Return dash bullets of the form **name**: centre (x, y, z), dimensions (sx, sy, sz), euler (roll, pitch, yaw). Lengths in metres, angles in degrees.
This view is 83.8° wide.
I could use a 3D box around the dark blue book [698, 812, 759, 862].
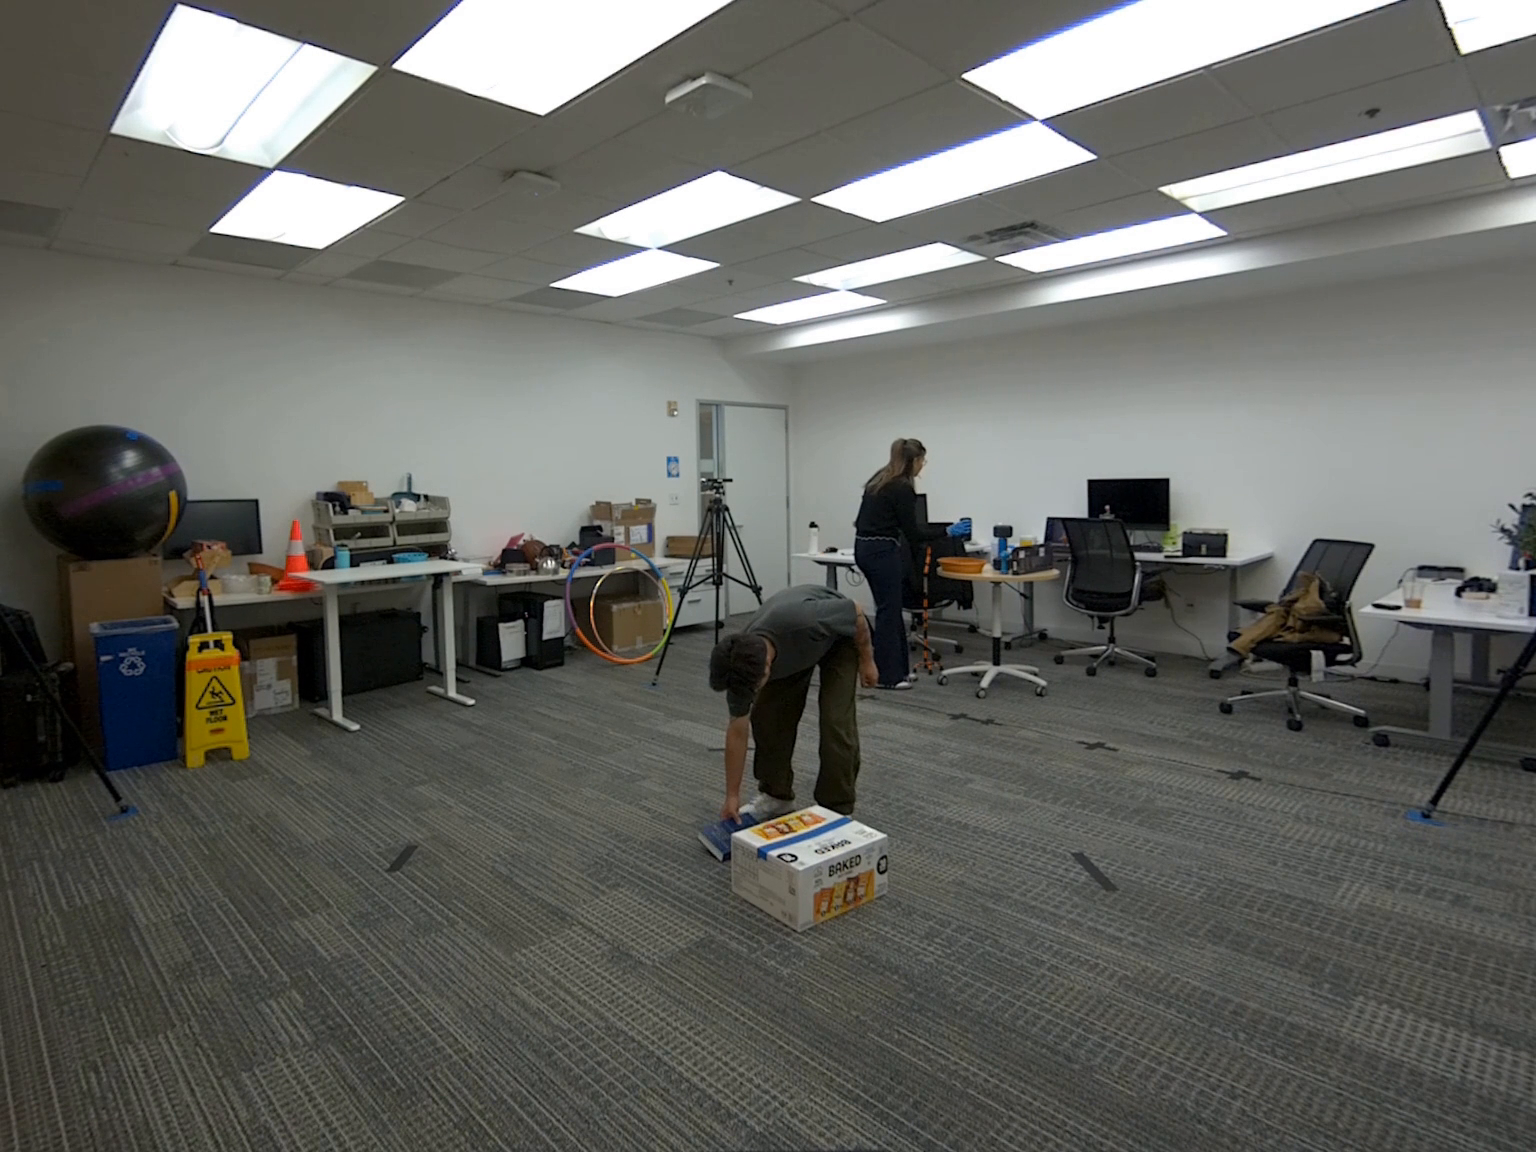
- **dark blue book**: centre (-0.125, 0.992, 3.232), dimensions (0.239, 0.044, 0.170), euler (-4, 22, -37)
